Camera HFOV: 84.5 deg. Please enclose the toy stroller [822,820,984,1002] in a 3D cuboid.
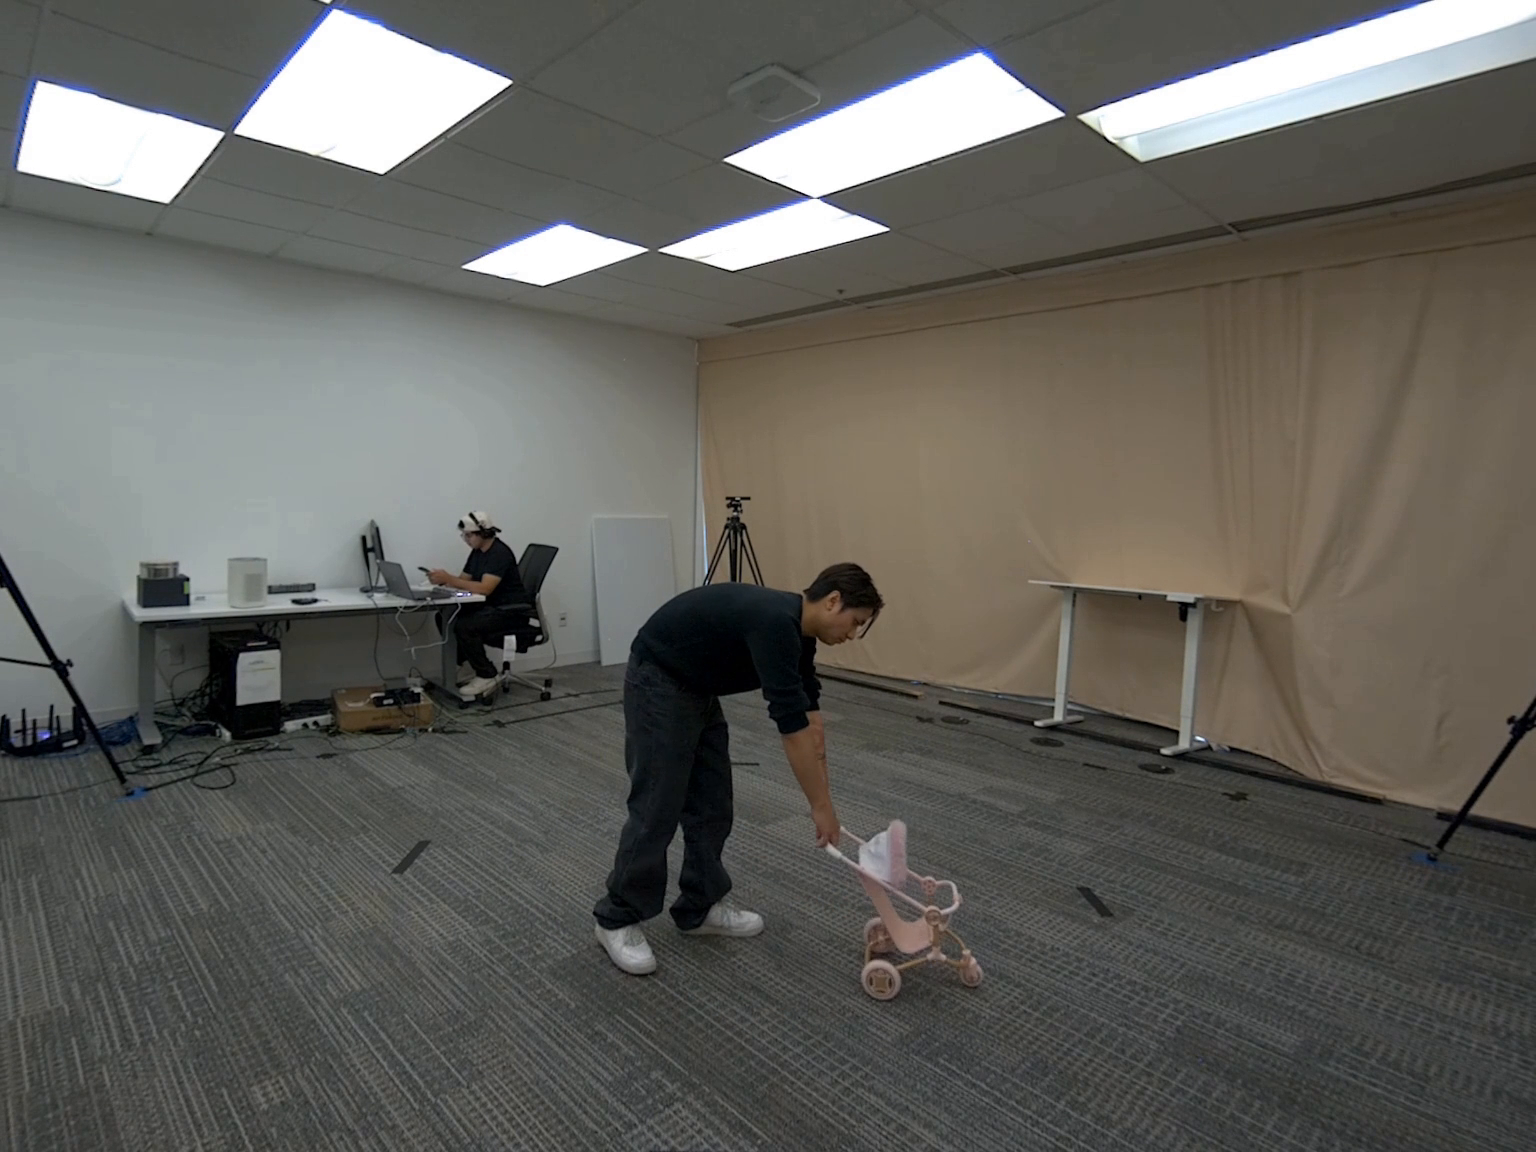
[{"bbox_3d":[0.381,0.960,2.450,0.344,0.535,0.279,-15,0,15],"label":"toy stroller"}]
